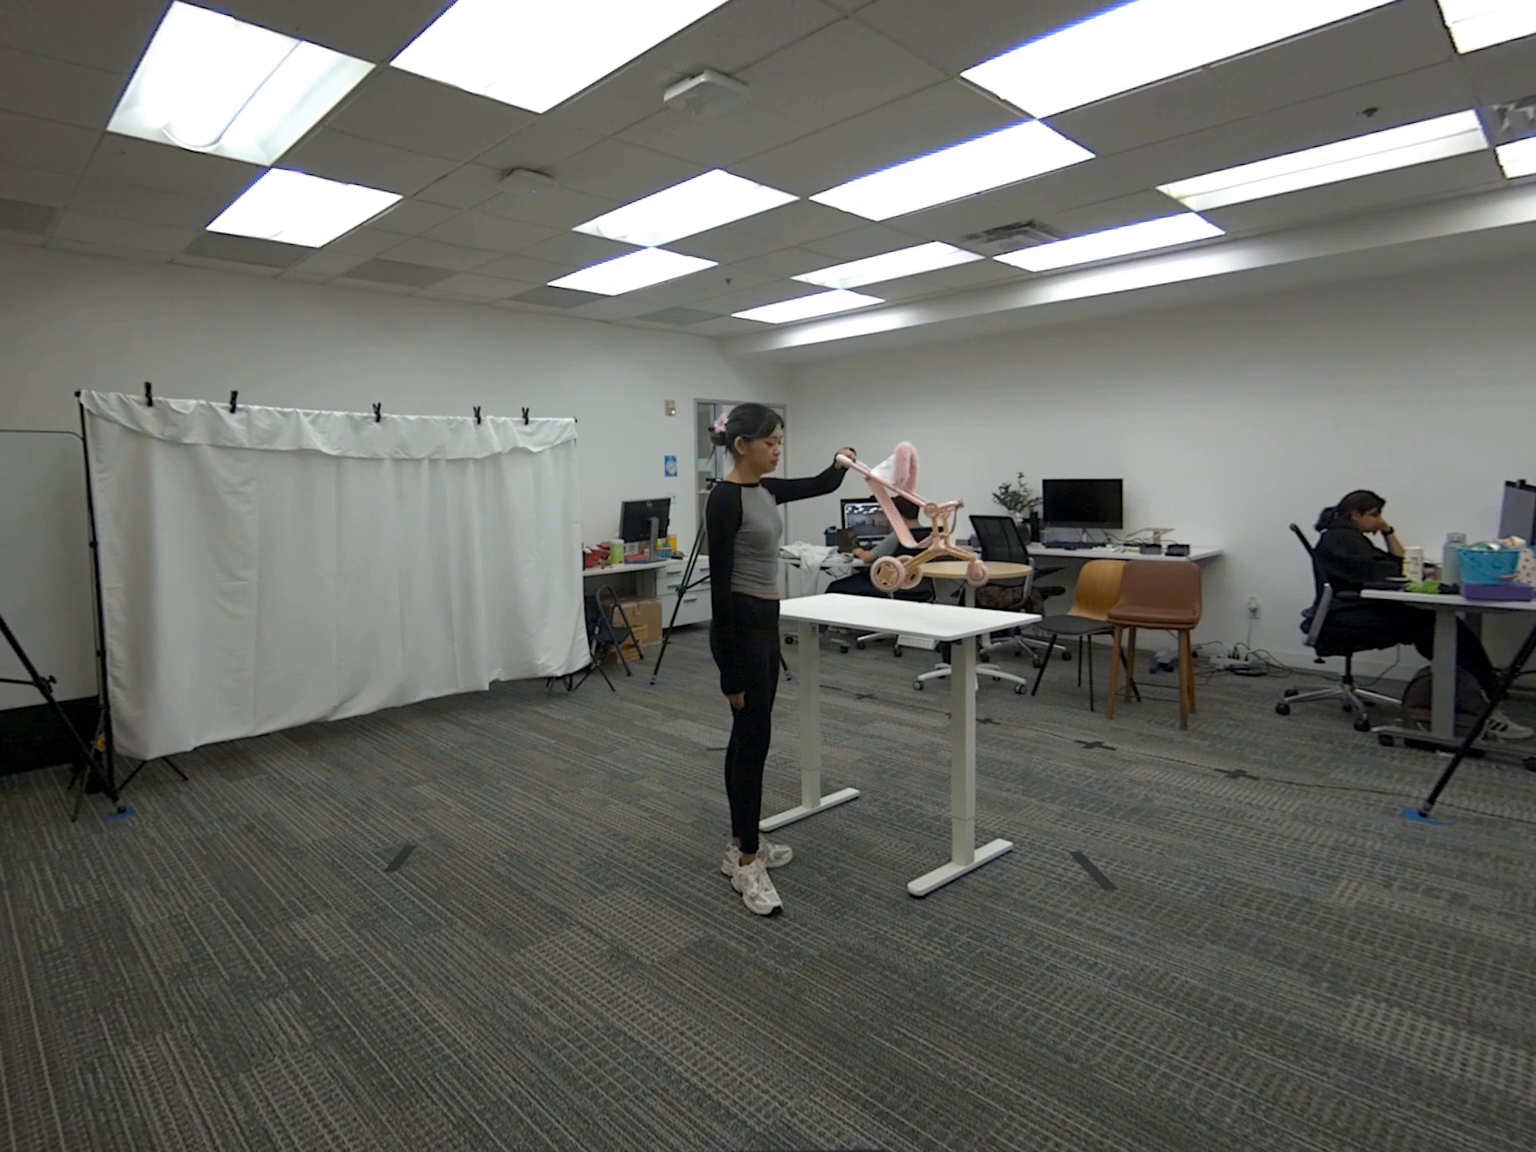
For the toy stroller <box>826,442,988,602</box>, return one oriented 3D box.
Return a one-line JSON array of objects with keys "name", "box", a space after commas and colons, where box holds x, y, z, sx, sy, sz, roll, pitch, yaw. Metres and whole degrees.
[{"name": "toy stroller", "box": [0.462, -0.186, 2.718, 0.346, 0.540, 0.275, -20, -9, 27]}]
